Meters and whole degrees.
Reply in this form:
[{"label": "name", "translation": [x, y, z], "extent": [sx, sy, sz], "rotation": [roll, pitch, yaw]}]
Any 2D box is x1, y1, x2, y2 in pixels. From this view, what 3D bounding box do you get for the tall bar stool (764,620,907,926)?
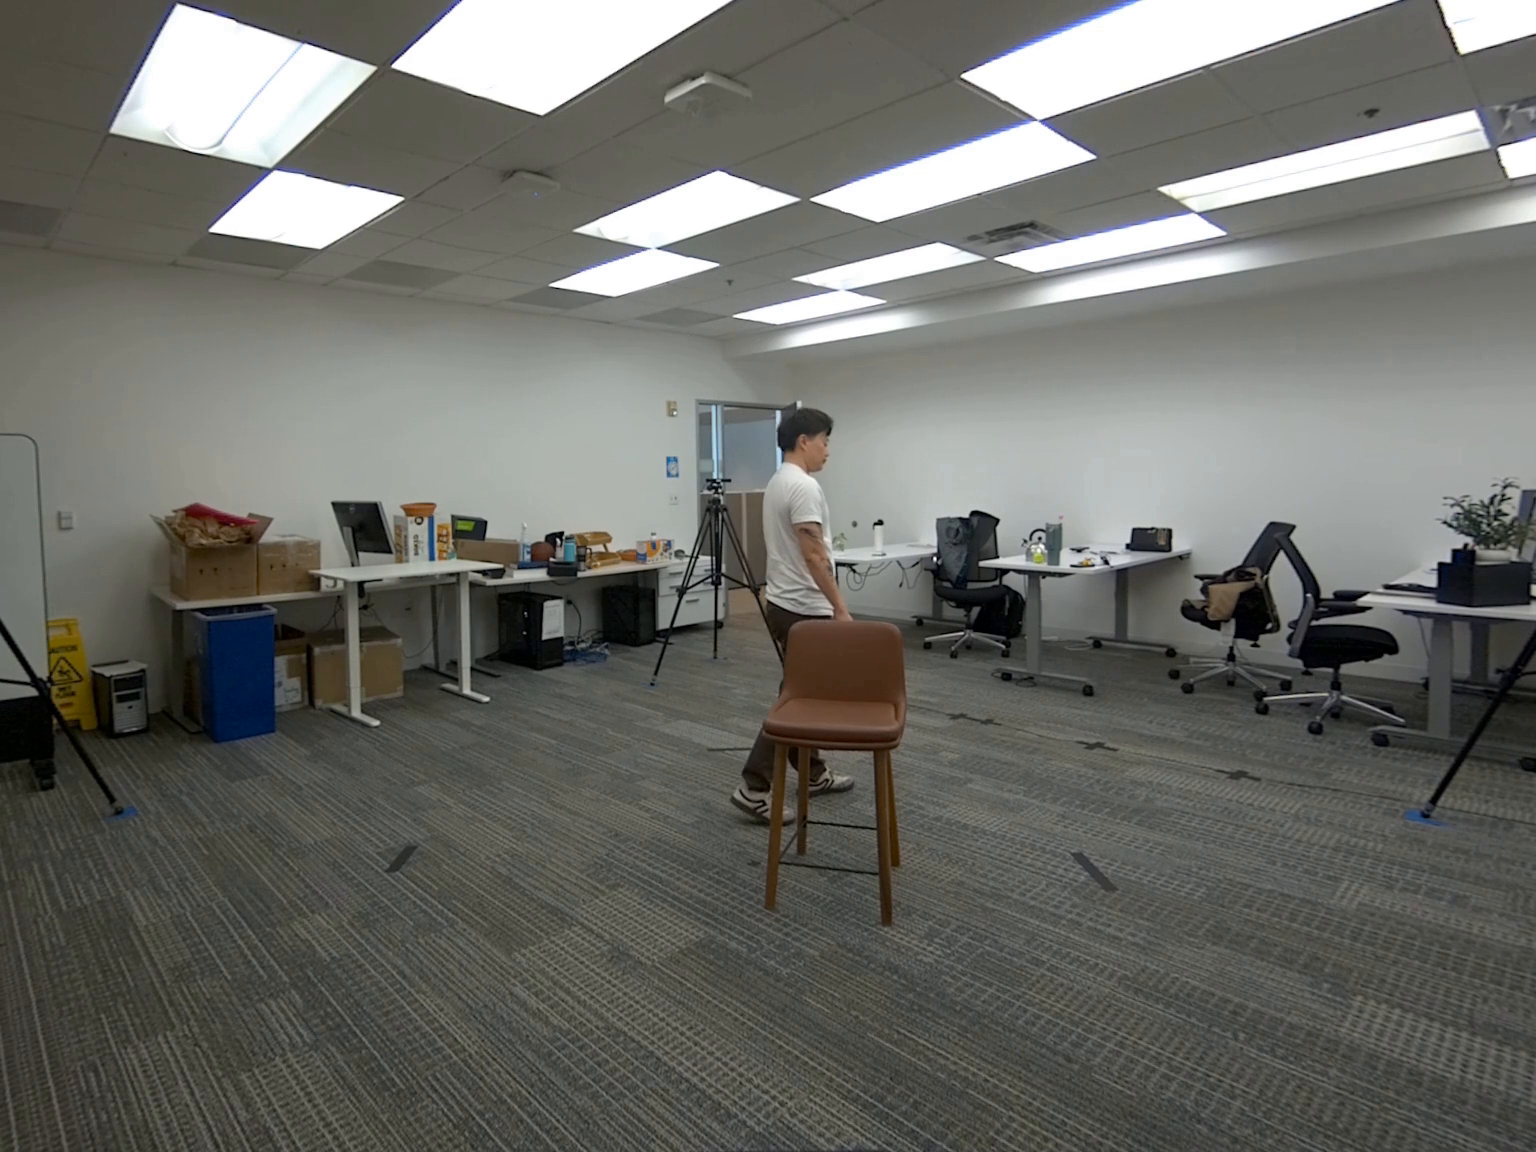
[{"label": "tall bar stool", "translation": [0.239, 0.627, 2.909], "extent": [0.464, 0.888, 0.460], "rotation": [0, 2, 18]}]
